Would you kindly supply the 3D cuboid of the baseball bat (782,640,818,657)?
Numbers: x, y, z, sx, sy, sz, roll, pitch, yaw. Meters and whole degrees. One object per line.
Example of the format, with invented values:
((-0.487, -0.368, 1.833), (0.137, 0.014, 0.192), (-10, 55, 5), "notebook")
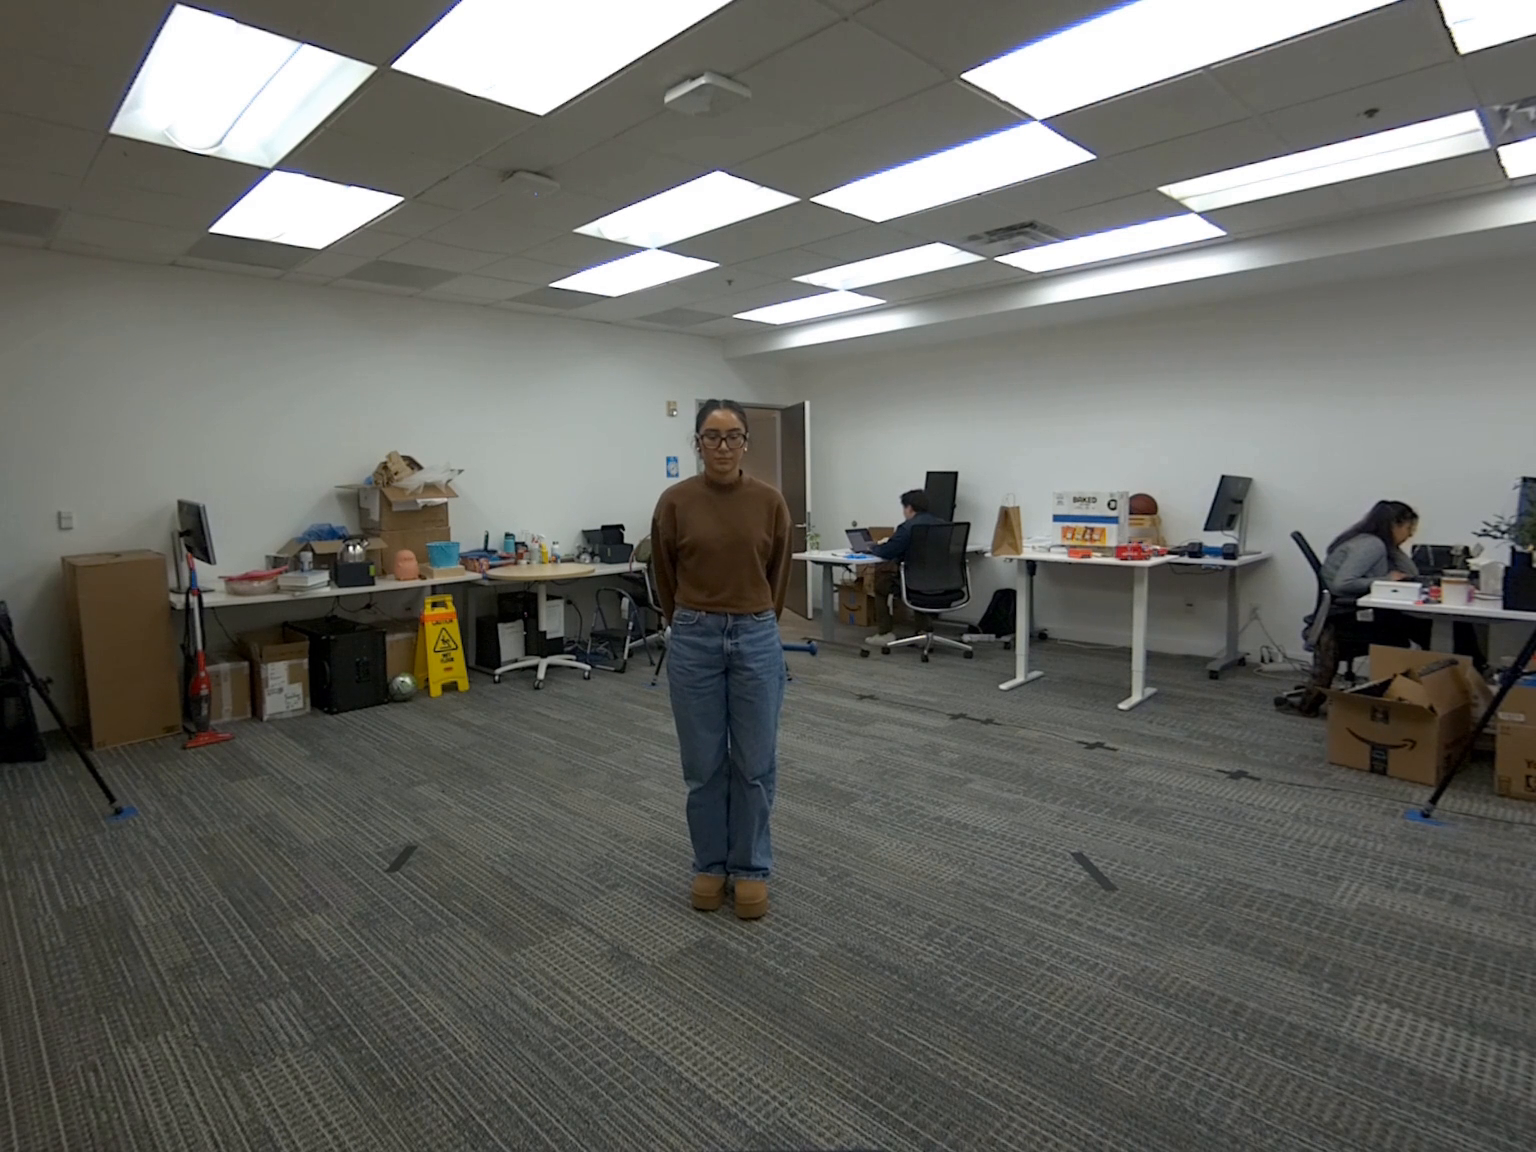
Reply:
((-0.078, 0.237, 3.043), (0.543, 0.089, 0.089), (1, 5, 0), "baseball bat")
